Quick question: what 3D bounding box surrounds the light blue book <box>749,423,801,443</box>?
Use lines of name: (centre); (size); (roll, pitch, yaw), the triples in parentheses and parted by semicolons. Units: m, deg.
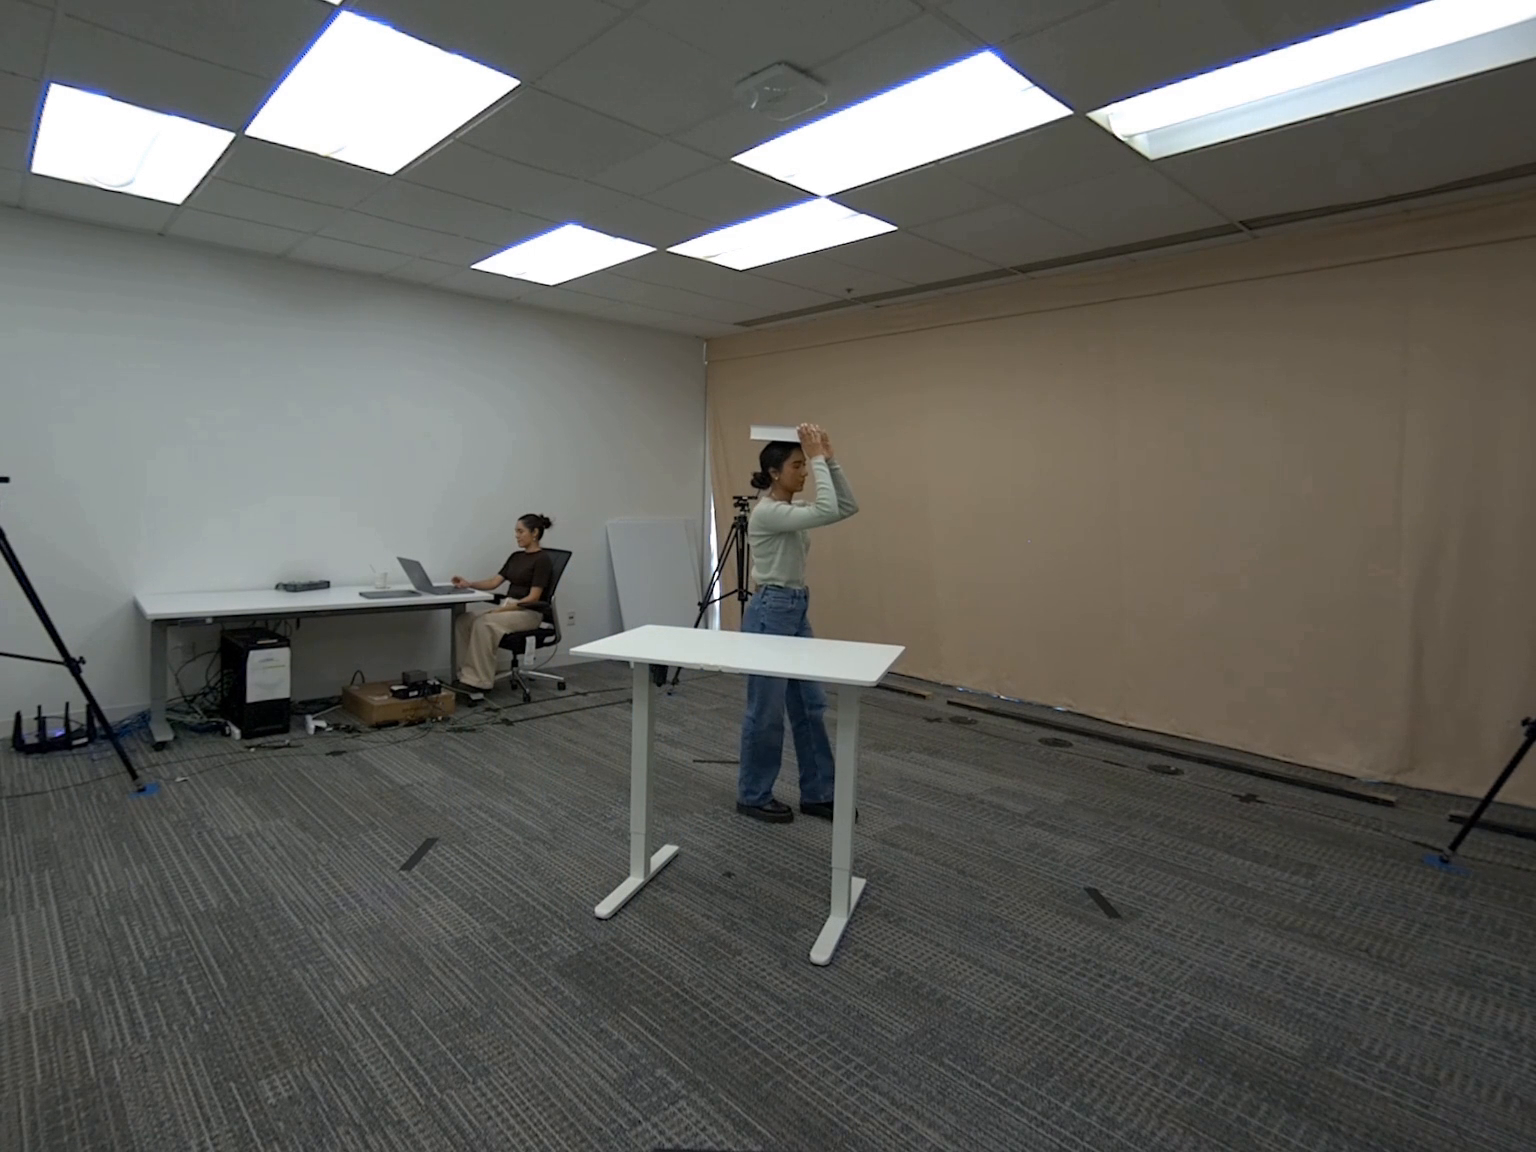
light blue book: (0.074, -0.610, 3.614); (0.265, 0.059, 0.189); (7, 7, 19)
